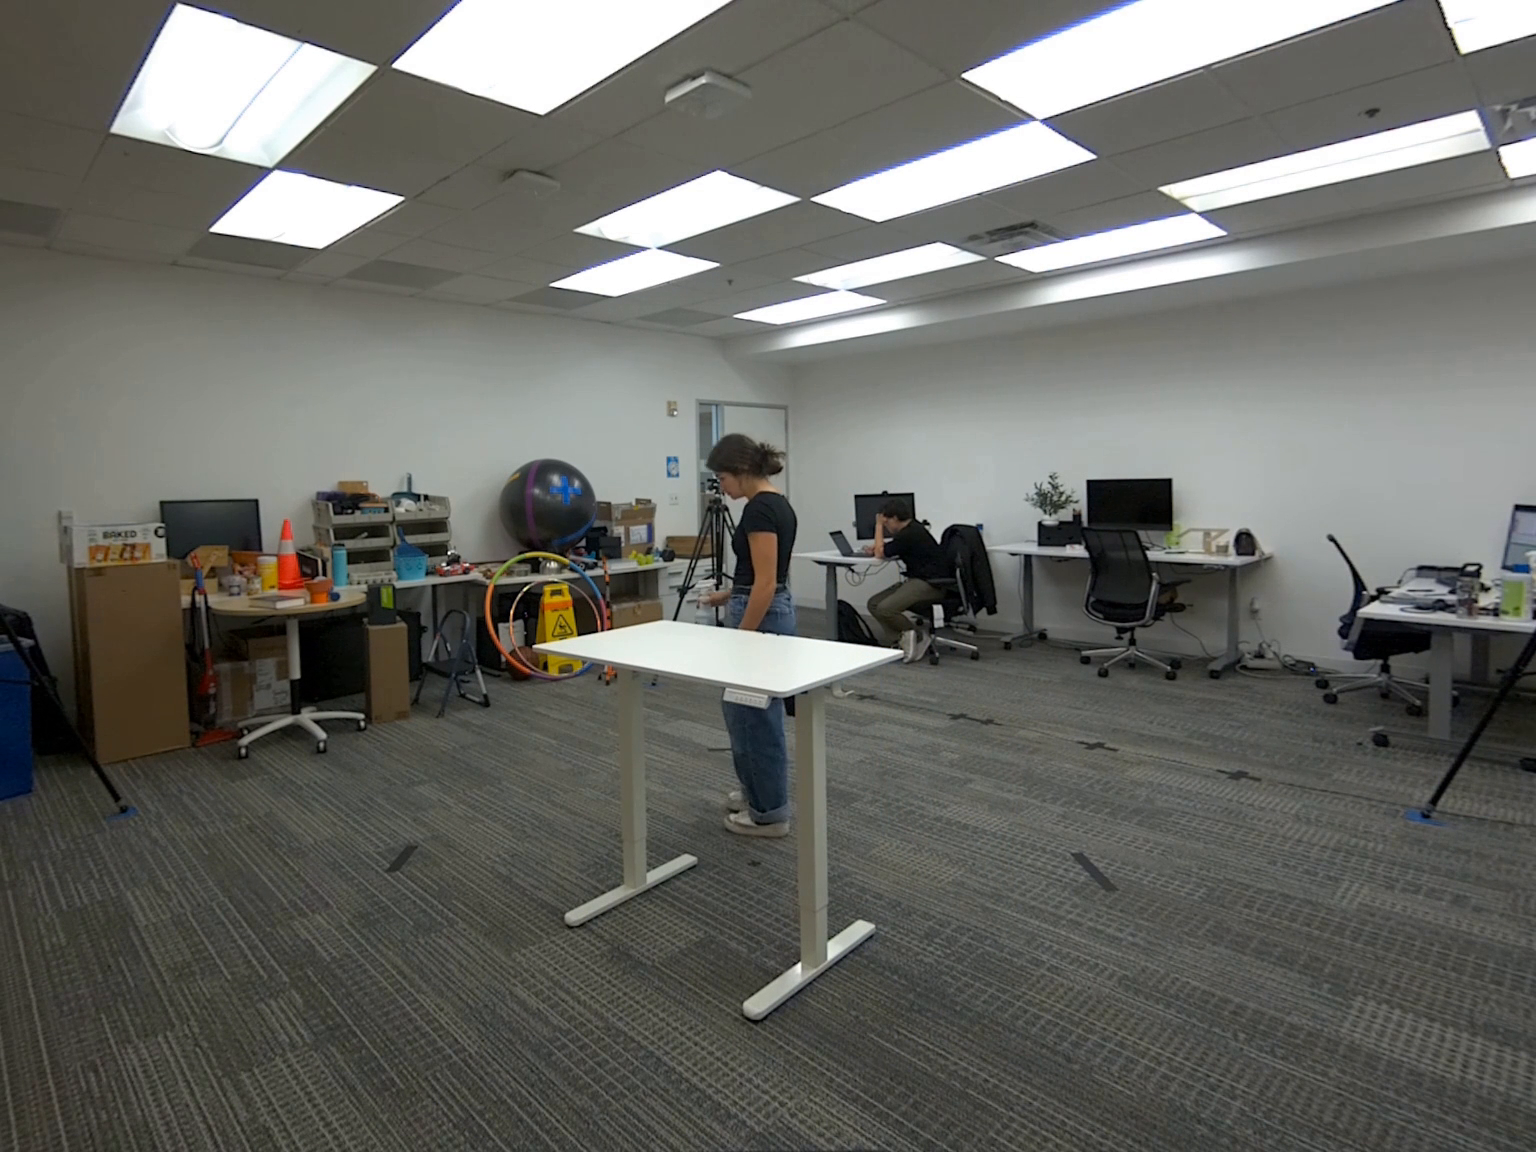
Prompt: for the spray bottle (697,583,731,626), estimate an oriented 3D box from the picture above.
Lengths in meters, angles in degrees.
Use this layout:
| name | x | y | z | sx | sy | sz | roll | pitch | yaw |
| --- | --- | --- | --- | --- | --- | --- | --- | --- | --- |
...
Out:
| name | x | y | z | sx | sy | sz | roll | pitch | yaw |
| --- | --- | --- | --- | --- | --- | --- | --- | --- | --- |
| spray bottle | -0.249 | 0.164 | 3.541 | 0.092 | 0.295 | 0.085 | 4 | 9 | 28 |
